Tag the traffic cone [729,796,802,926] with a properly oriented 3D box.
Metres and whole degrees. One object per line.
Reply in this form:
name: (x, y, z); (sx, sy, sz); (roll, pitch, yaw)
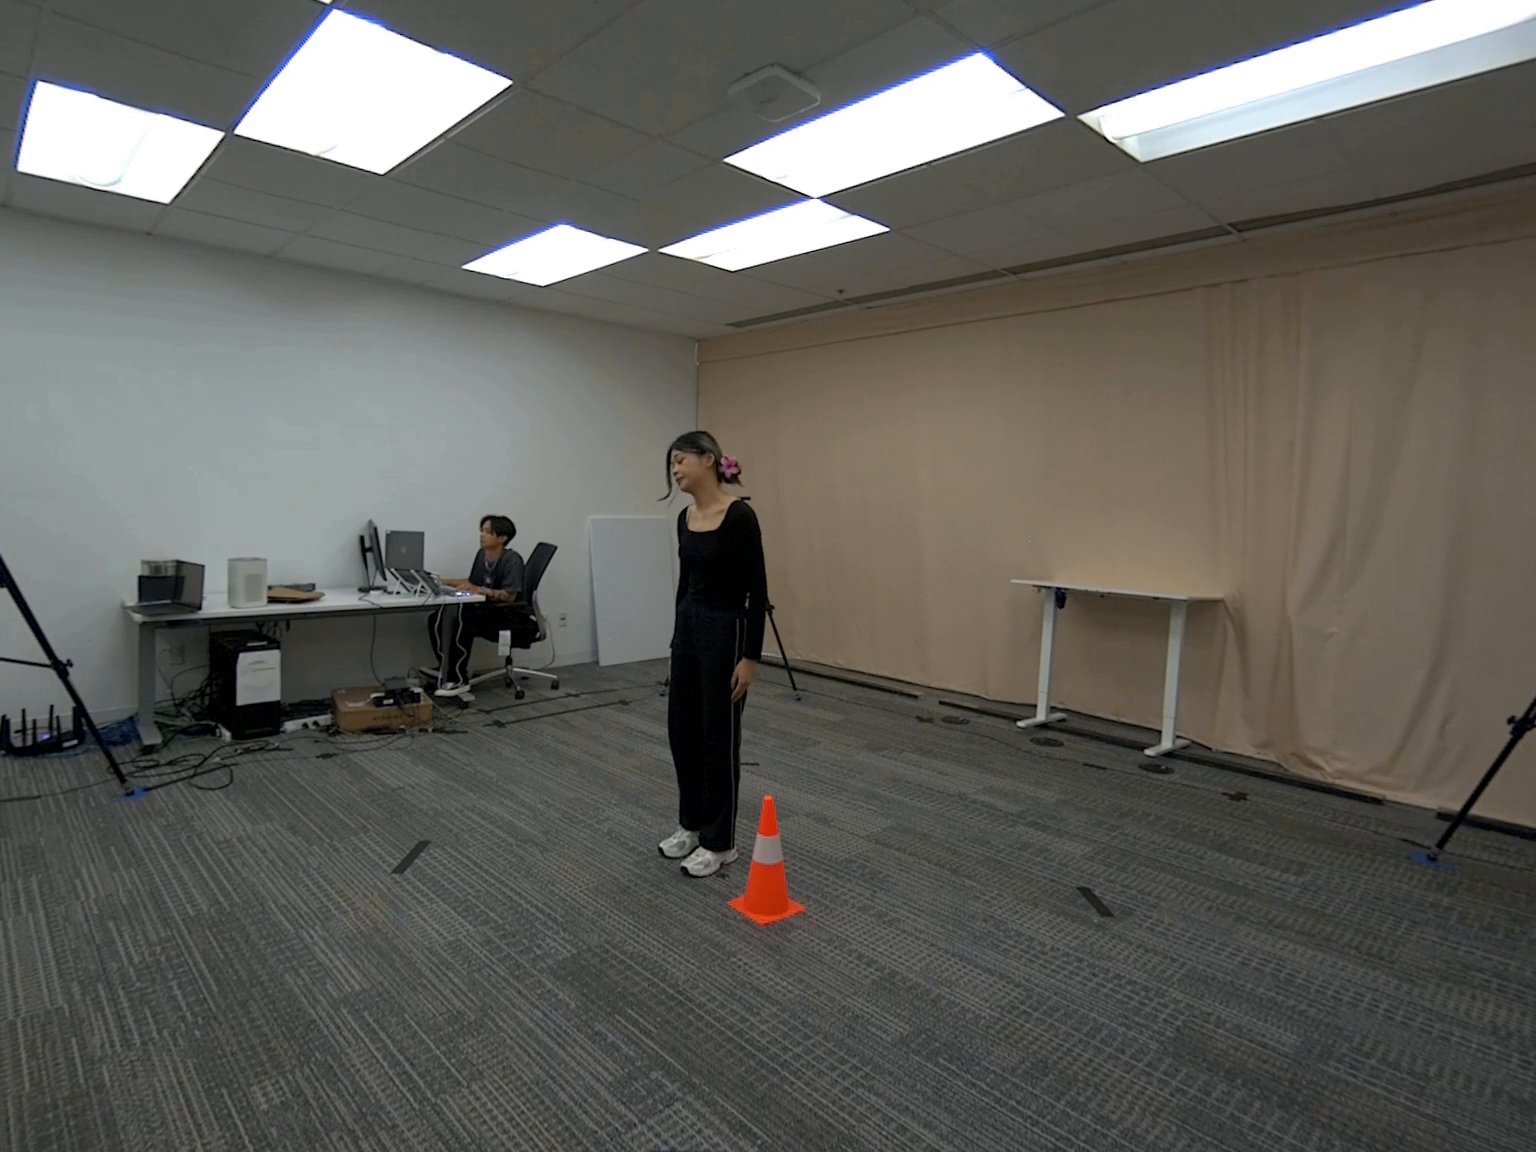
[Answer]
traffic cone: (-0.013, 0.948, 2.865); (0.201, 0.382, 0.208); (-3, 5, -33)
